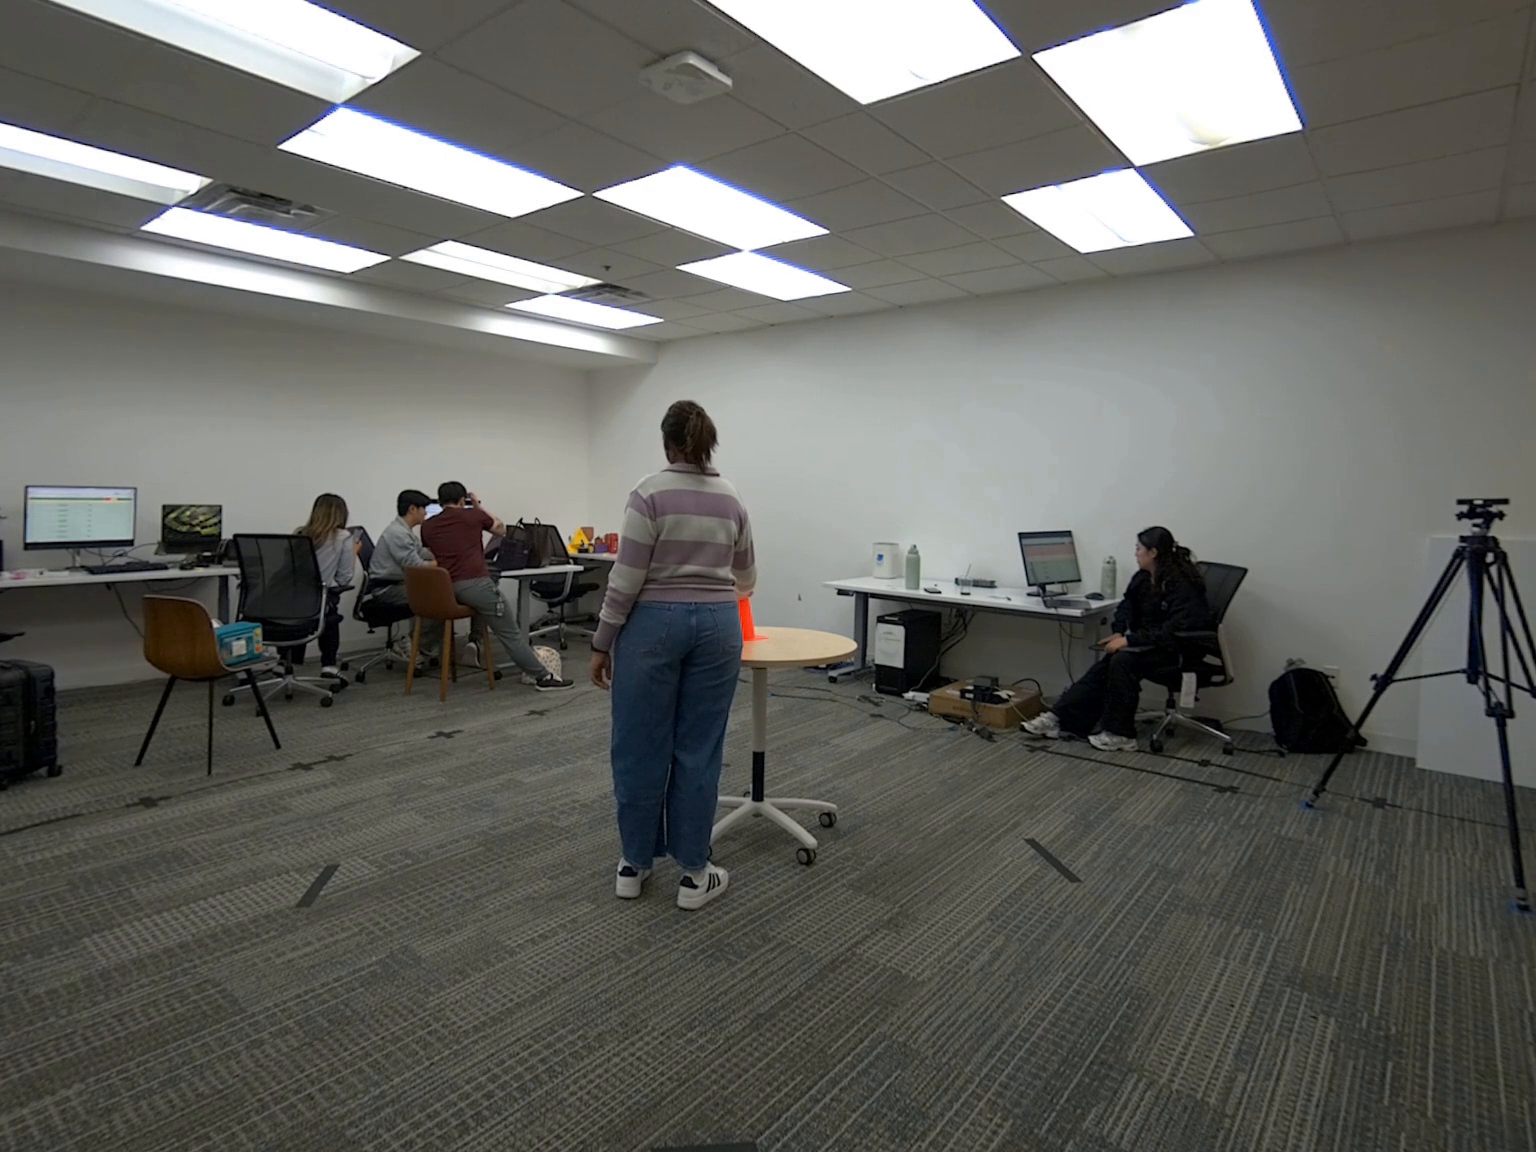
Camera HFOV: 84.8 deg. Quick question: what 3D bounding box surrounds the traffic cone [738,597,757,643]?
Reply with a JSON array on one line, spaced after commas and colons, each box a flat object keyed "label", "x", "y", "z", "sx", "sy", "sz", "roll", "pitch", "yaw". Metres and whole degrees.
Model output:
[{"label": "traffic cone", "x": -0.137, "y": 0.064, "z": 3.486, "sx": 0.212, "sy": 0.382, "sz": 0.197, "roll": 5, "pitch": 6, "yaw": 41}]
